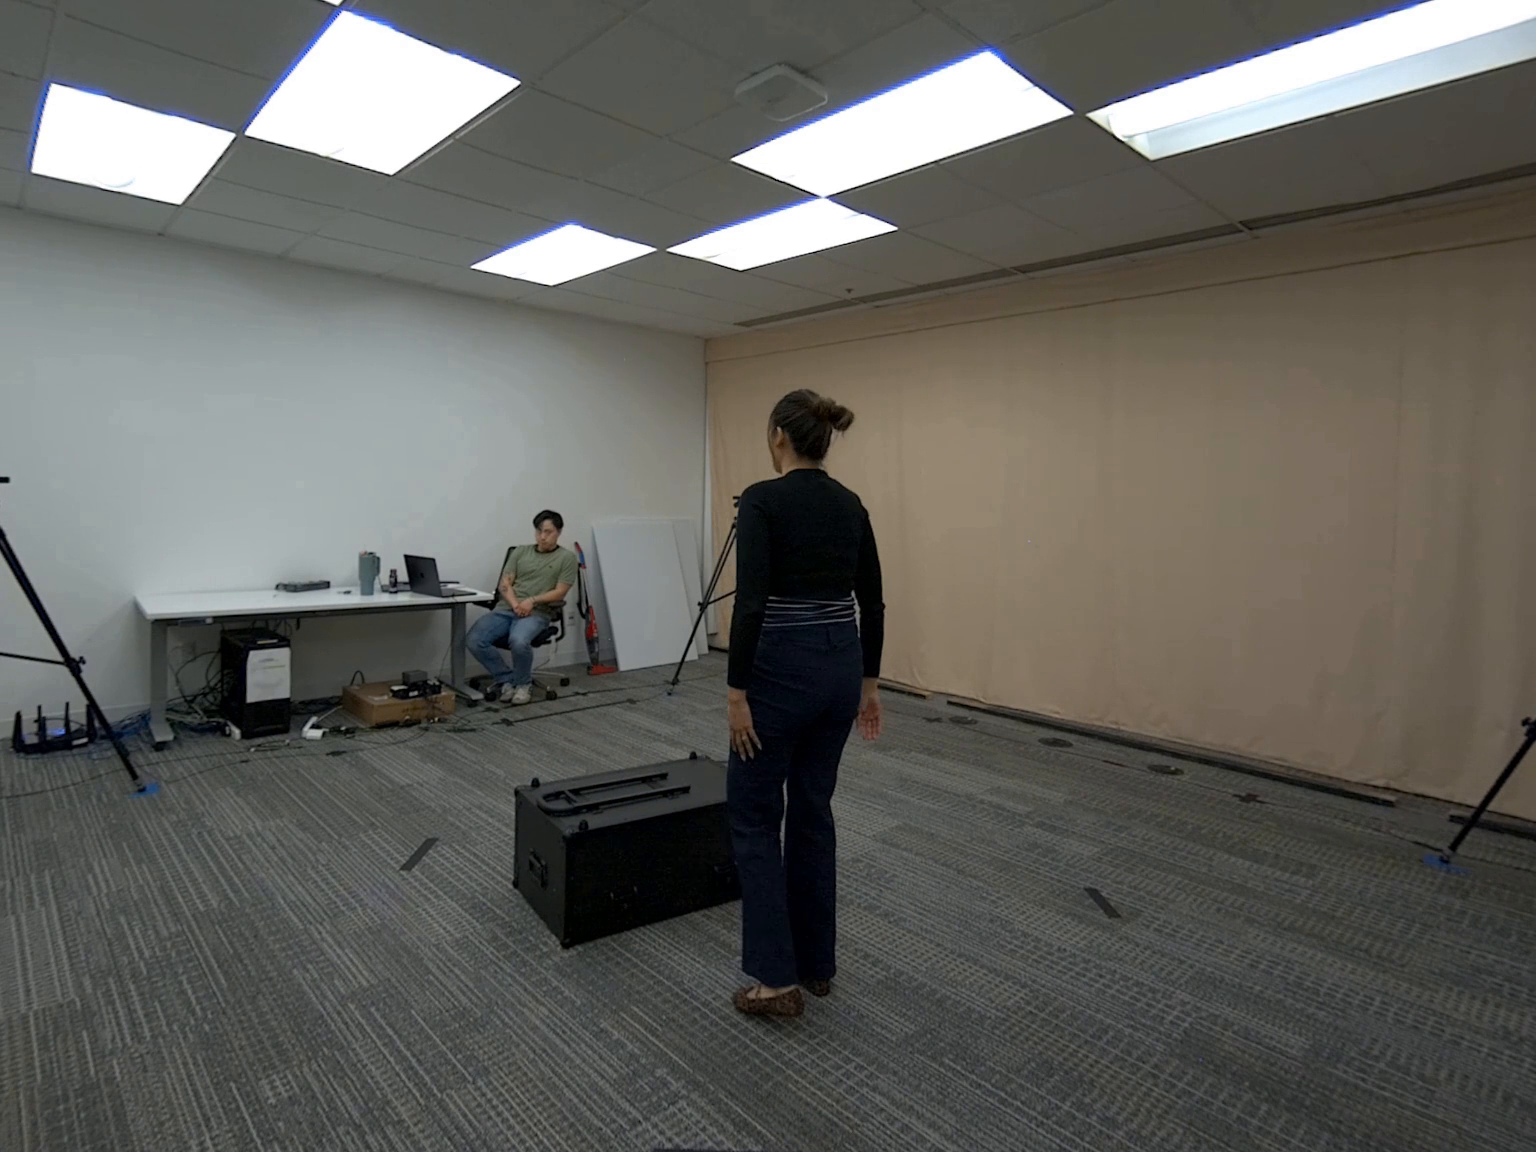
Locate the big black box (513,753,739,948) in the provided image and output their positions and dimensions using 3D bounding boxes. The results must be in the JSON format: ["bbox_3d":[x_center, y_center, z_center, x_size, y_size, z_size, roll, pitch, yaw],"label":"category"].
[{"bbox_3d":[-0.464,0.935,2.951,0.843,0.395,0.534,-2,6,-34],"label":"big black box"}]
